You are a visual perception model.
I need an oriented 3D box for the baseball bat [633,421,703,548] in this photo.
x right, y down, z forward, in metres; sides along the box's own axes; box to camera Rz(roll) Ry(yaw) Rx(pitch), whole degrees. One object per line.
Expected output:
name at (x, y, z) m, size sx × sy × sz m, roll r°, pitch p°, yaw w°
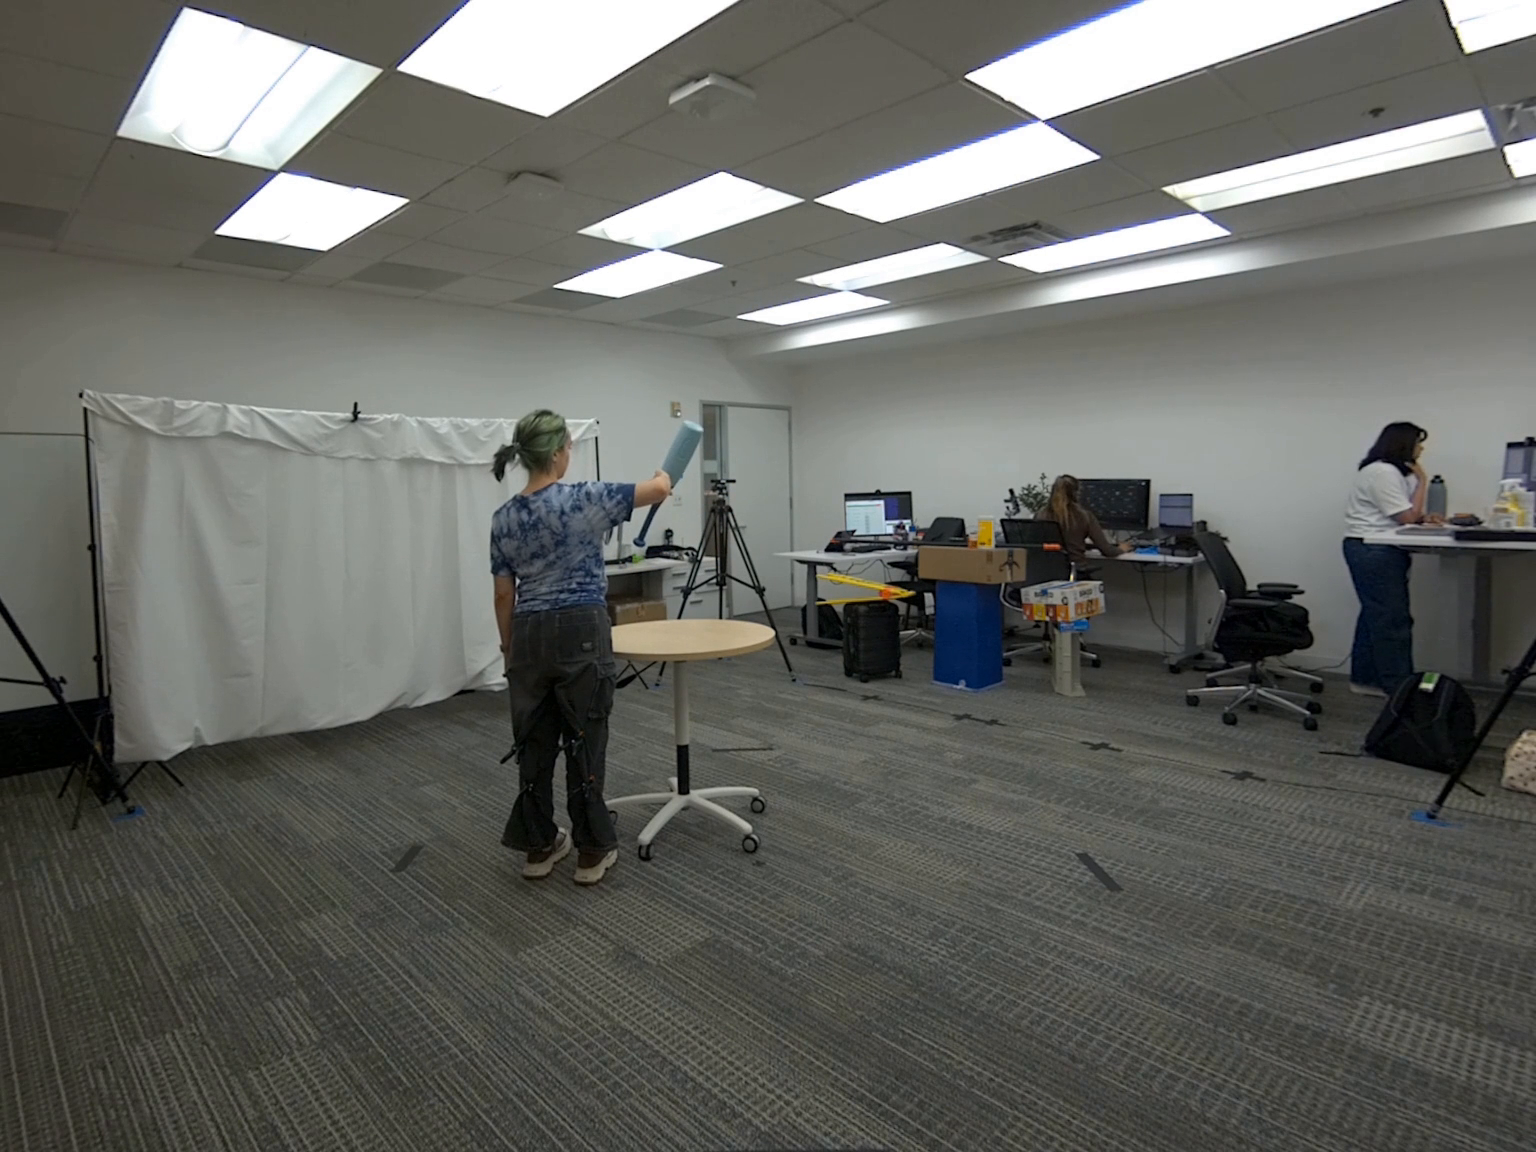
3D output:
baseball bat at (-0.393, -0.341, 3.268) m, size 0.088 × 0.539 × 0.091 m, roll 23°, pitch 22°, yaw -12°
